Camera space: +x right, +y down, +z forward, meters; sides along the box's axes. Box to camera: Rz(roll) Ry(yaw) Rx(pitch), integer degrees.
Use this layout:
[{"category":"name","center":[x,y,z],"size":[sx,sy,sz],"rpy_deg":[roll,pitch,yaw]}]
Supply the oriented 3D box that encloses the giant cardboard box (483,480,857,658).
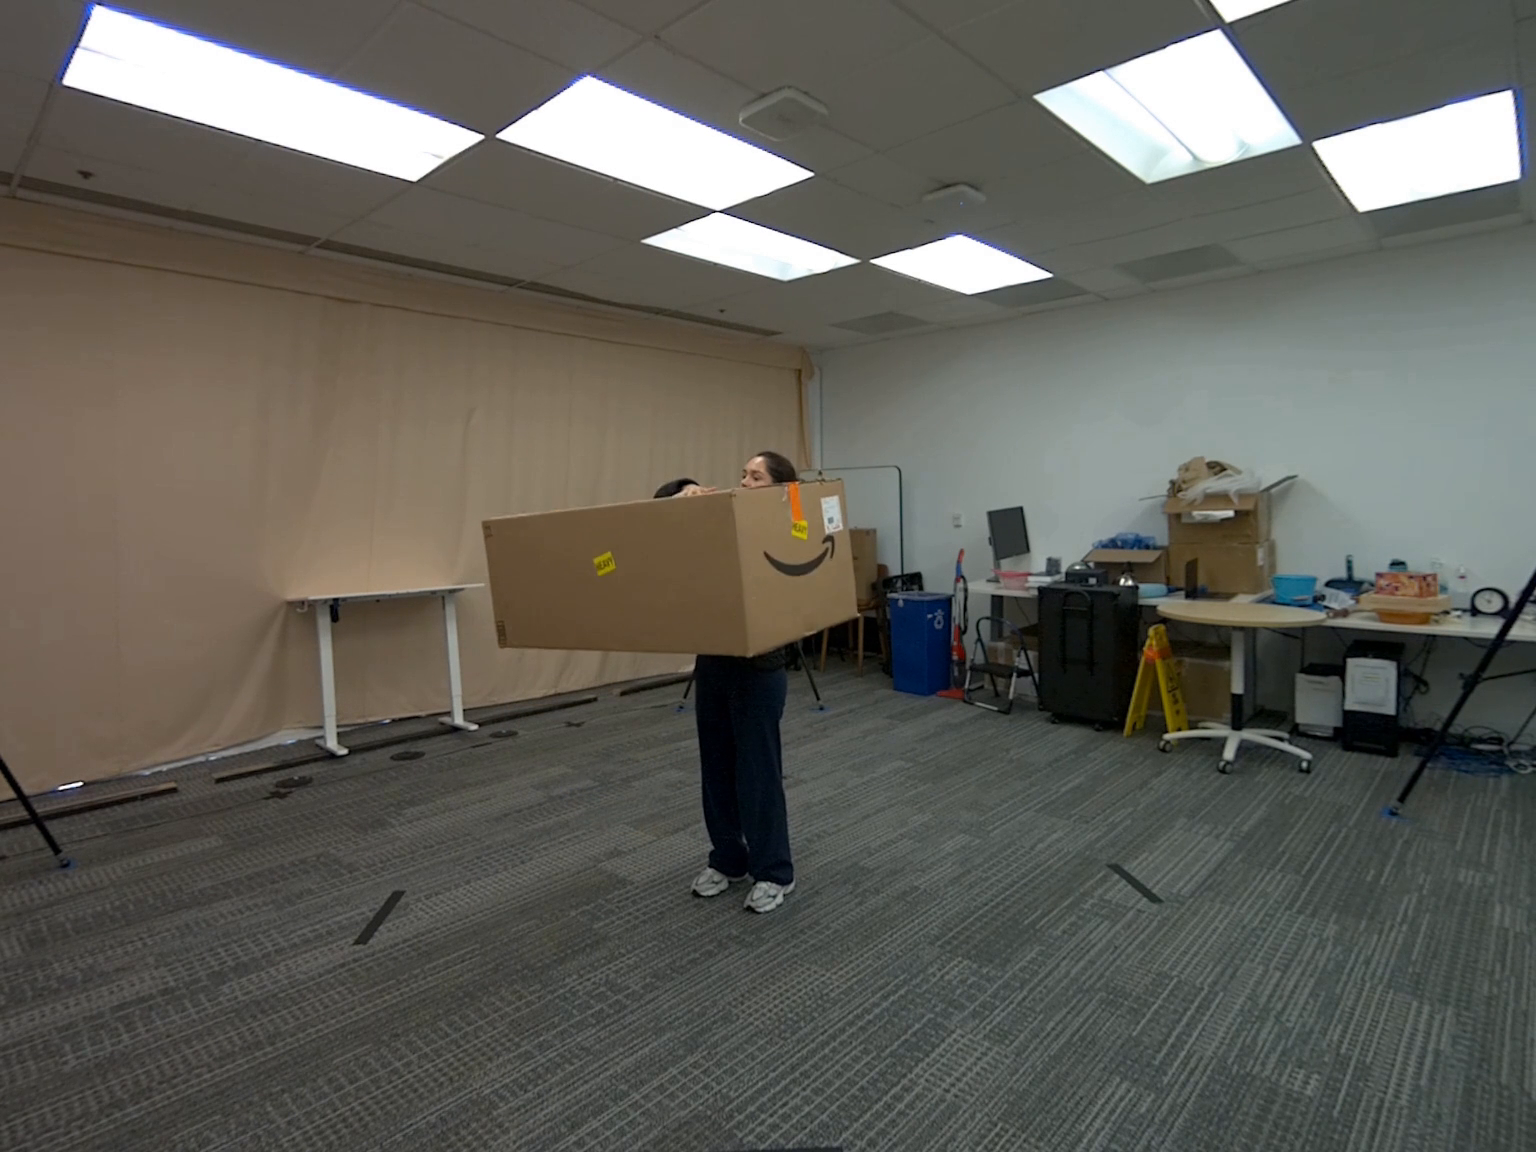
[{"category":"giant cardboard box","center":[-0.312,-0.027,2.642],"size":[1.057,0.425,0.562],"rpy_deg":[-2,6,37]}]
